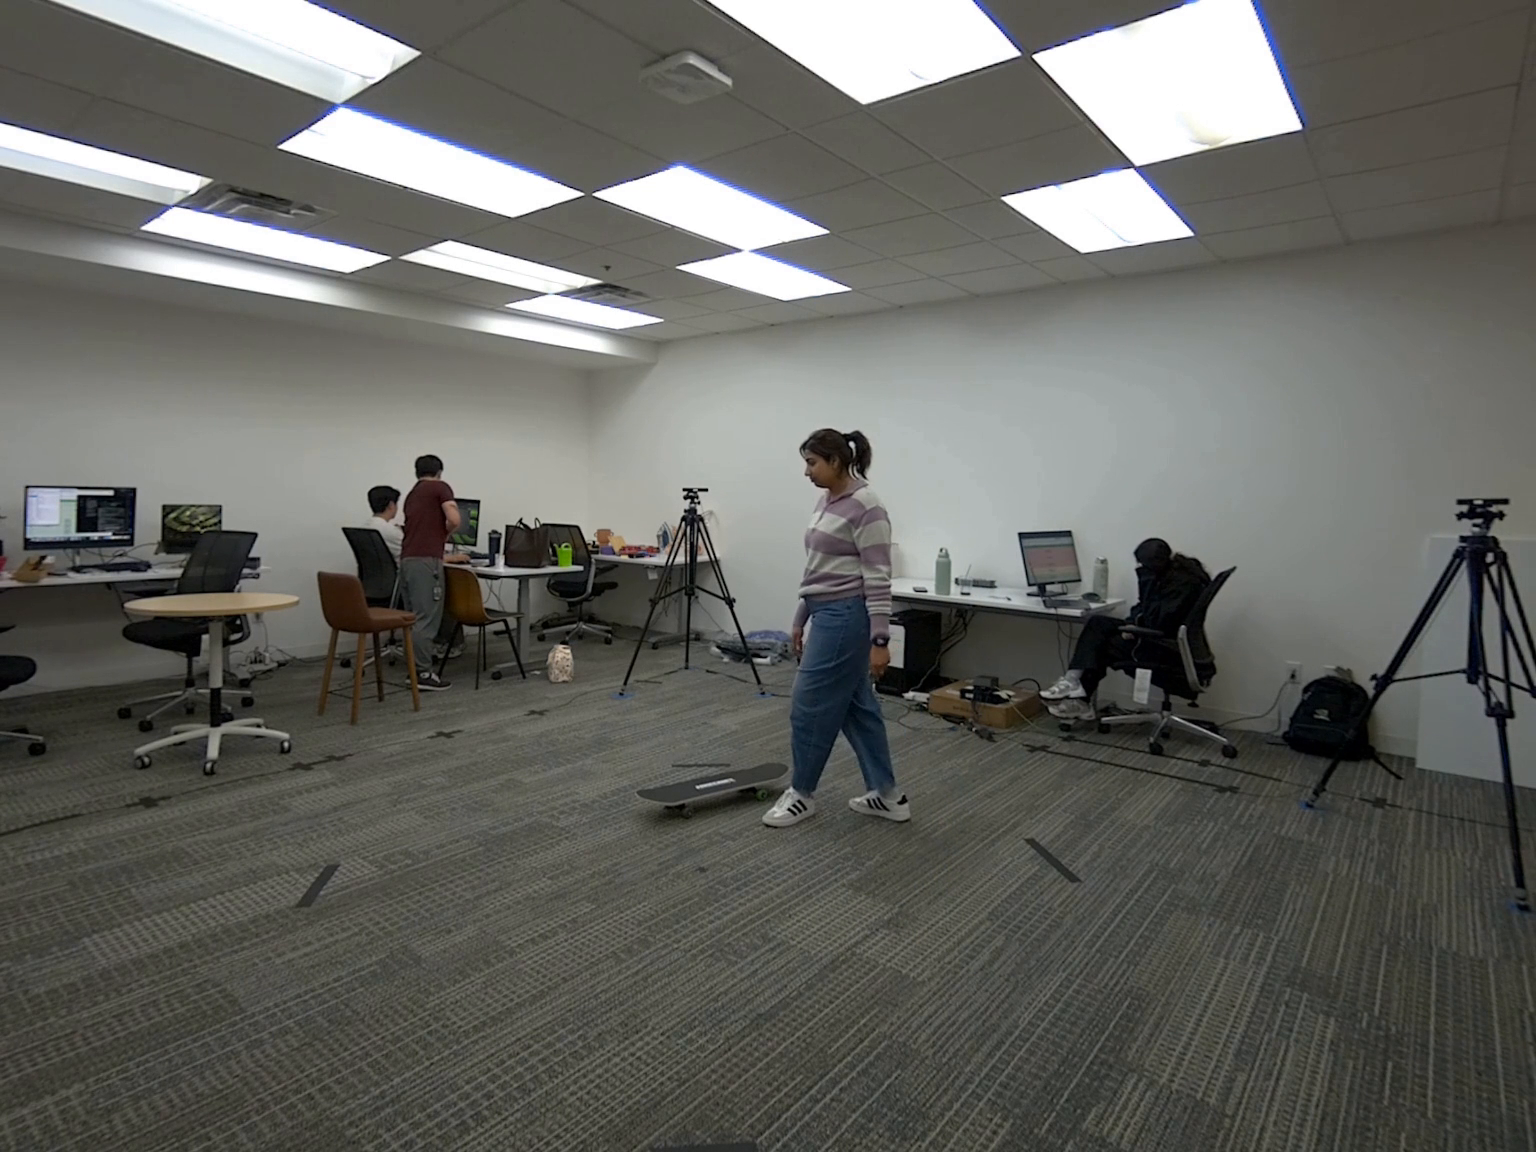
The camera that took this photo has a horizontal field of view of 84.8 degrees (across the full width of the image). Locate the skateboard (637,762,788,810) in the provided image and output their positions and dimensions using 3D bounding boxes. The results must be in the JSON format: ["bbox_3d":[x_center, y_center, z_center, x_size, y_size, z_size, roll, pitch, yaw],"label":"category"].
[{"bbox_3d":[-0.239,0.946,3.768,0.763,0.110,0.200,-3,6,-35],"label":"skateboard"}]
